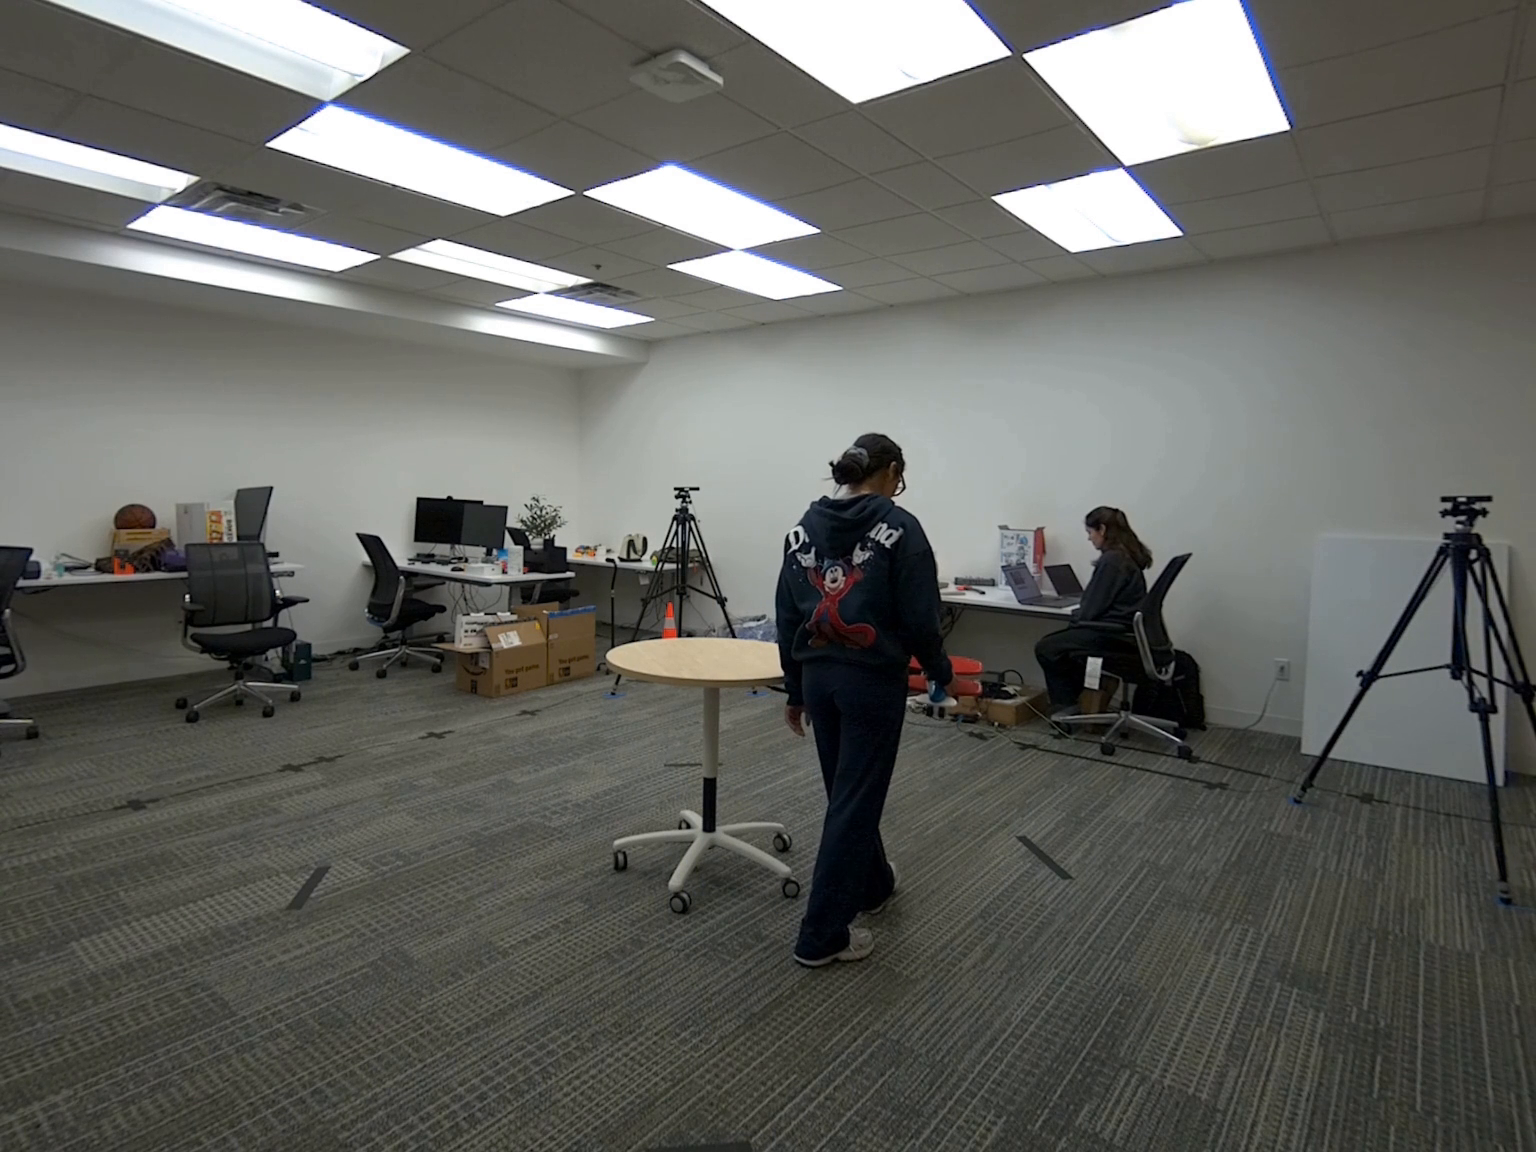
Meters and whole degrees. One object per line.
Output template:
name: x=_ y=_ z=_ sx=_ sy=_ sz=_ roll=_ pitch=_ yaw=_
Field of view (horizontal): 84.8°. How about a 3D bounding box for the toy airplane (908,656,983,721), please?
toy airplane: x=0.565 y=0.347 z=2.703 sx=0.249 sy=0.155 sz=0.264 roll=-2 pitch=9 yaw=-10
